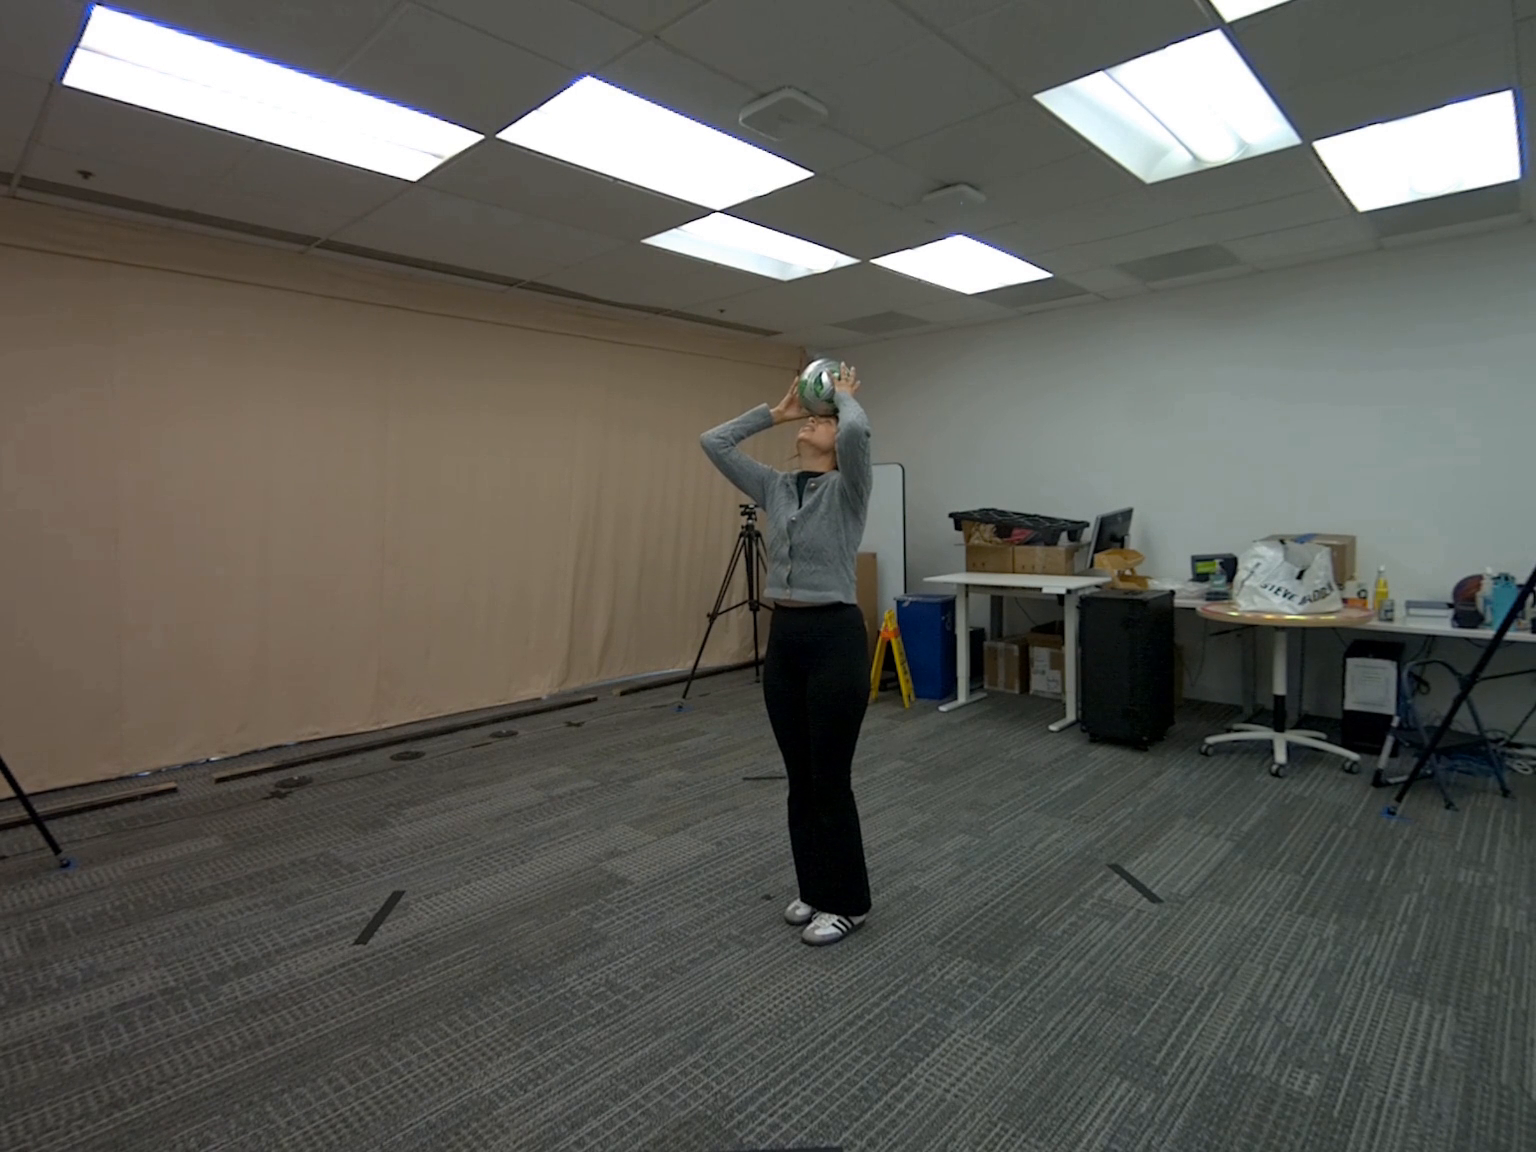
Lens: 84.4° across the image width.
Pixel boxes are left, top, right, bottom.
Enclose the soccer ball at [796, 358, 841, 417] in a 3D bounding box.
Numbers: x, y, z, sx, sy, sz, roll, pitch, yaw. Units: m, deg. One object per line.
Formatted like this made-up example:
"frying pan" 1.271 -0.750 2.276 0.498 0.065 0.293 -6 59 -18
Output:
"soccer ball" 0.195 -0.615 2.774 0.187 0.187 0.188 -1 4 -2
